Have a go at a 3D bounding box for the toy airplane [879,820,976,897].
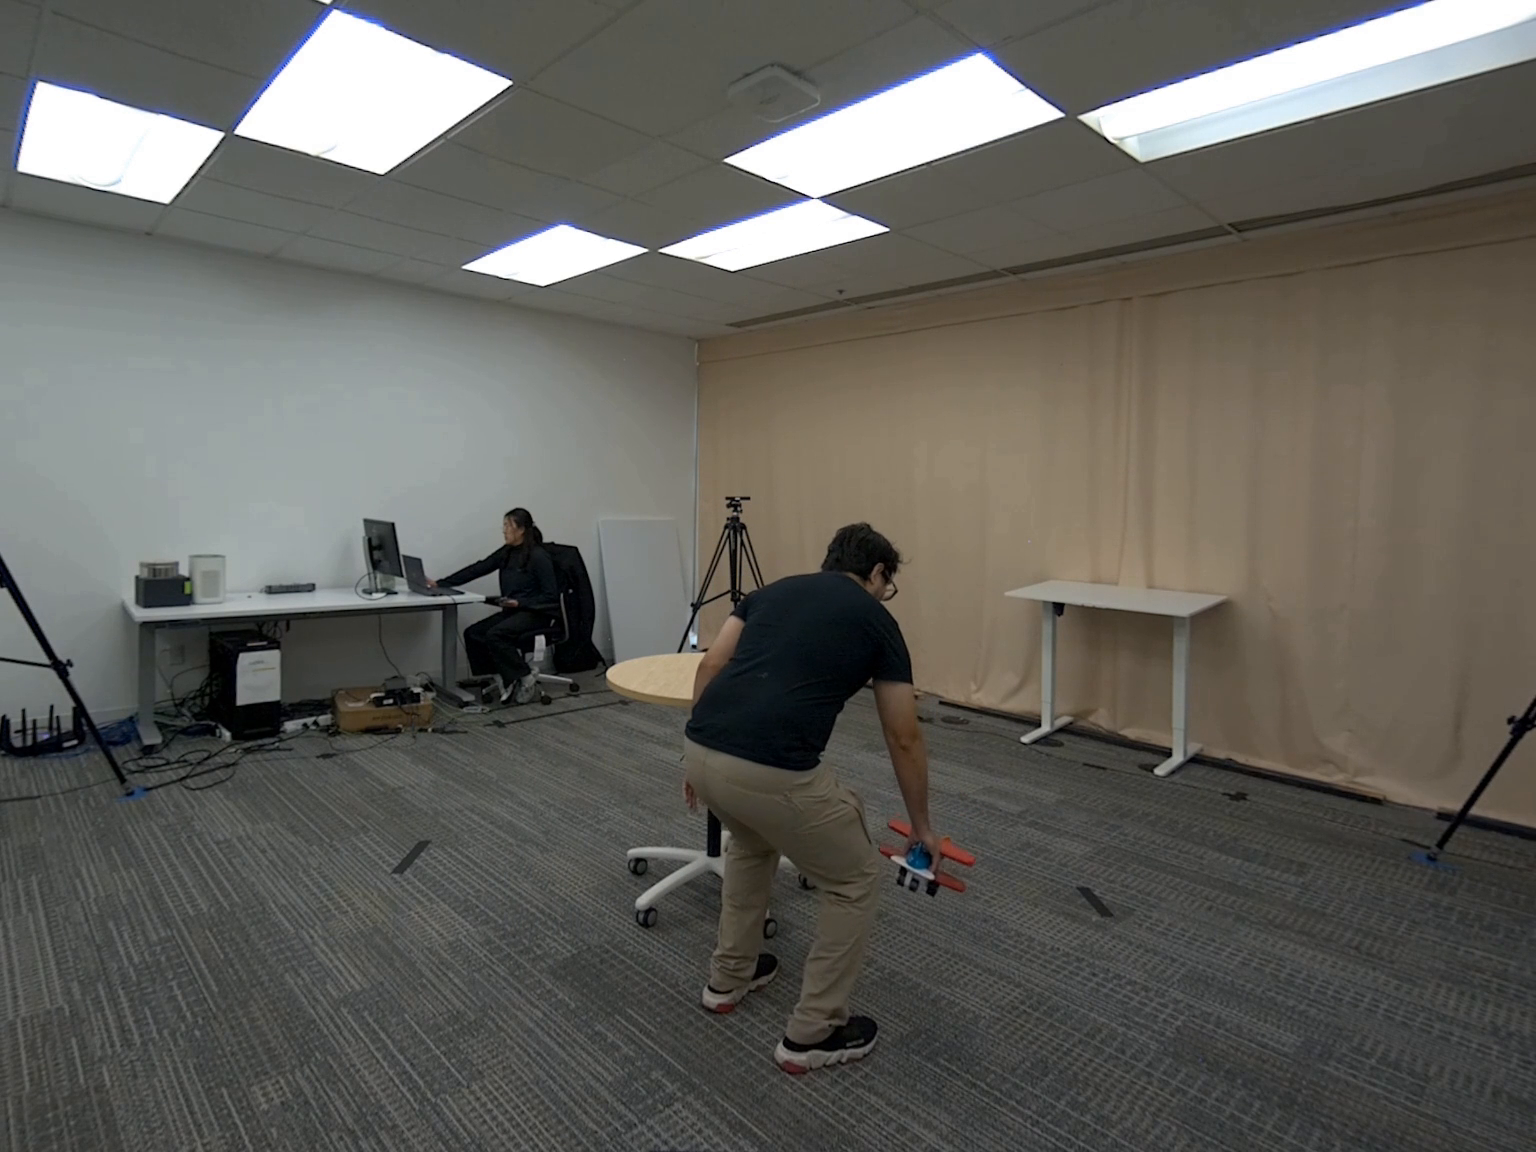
[{"bbox_3d":[0.441,0.807,2.322,0.250,0.157,0.259,24,-11,-4],"label":"toy airplane"}]
